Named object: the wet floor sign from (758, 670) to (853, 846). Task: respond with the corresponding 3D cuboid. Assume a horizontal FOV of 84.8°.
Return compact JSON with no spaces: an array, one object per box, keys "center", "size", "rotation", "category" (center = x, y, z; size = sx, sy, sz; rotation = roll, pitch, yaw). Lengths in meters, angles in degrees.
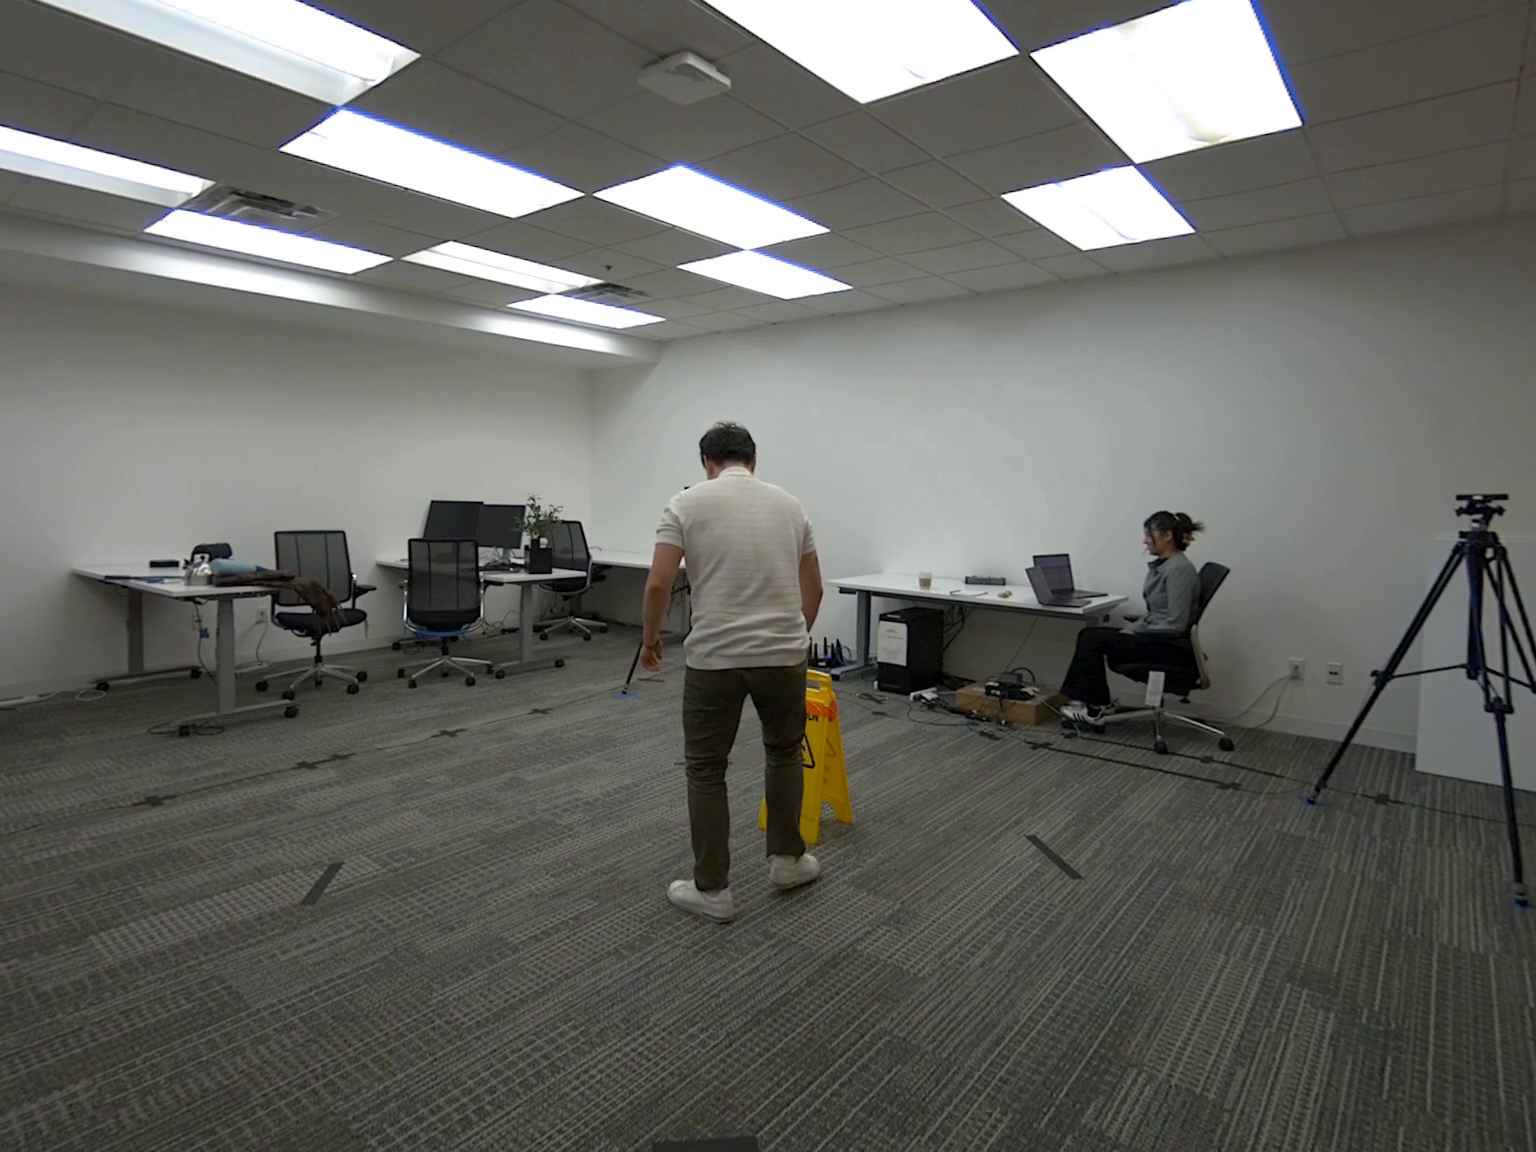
[{"center":[0.159,0.709,3.518],"size":[0.291,0.645,0.281],"rotation":[4,3,37],"category":"wet floor sign"}]
